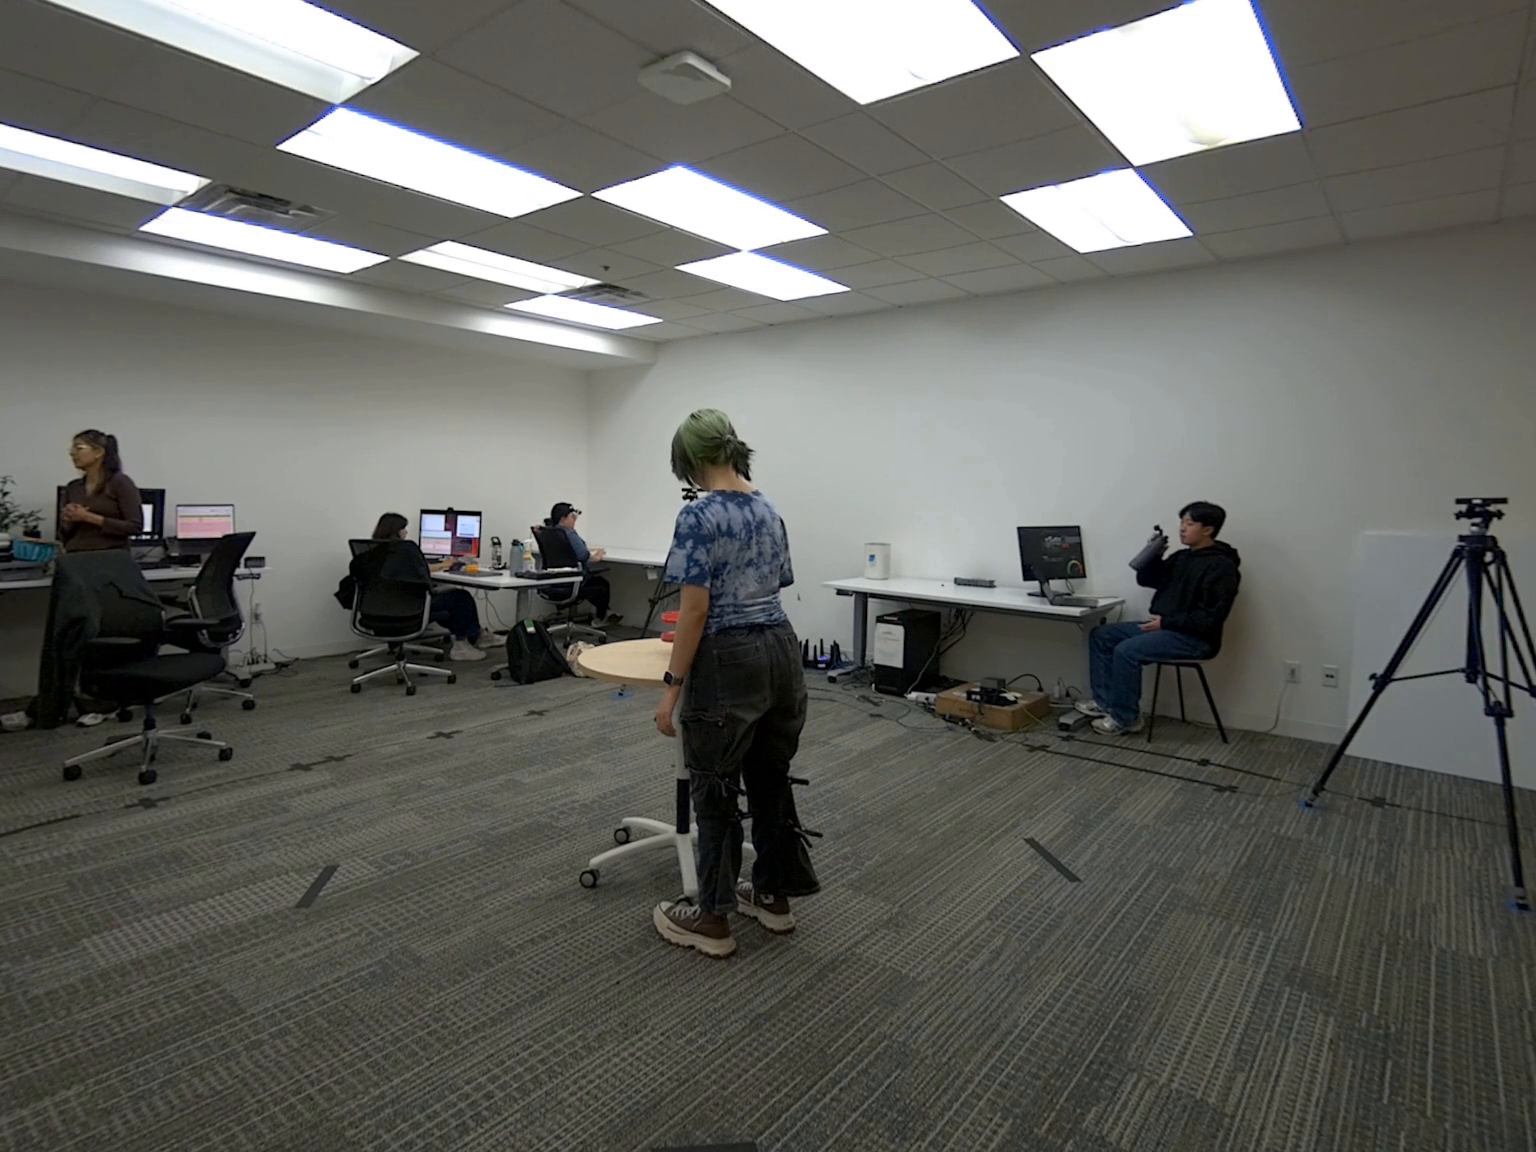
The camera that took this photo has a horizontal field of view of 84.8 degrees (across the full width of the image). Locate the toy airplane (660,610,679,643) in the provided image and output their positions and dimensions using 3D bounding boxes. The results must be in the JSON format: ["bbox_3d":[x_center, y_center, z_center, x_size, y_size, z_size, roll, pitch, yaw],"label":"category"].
[{"bbox_3d":[-0.248,0.209,3.093,0.244,0.156,0.268,-3,6,-38],"label":"toy airplane"}]
